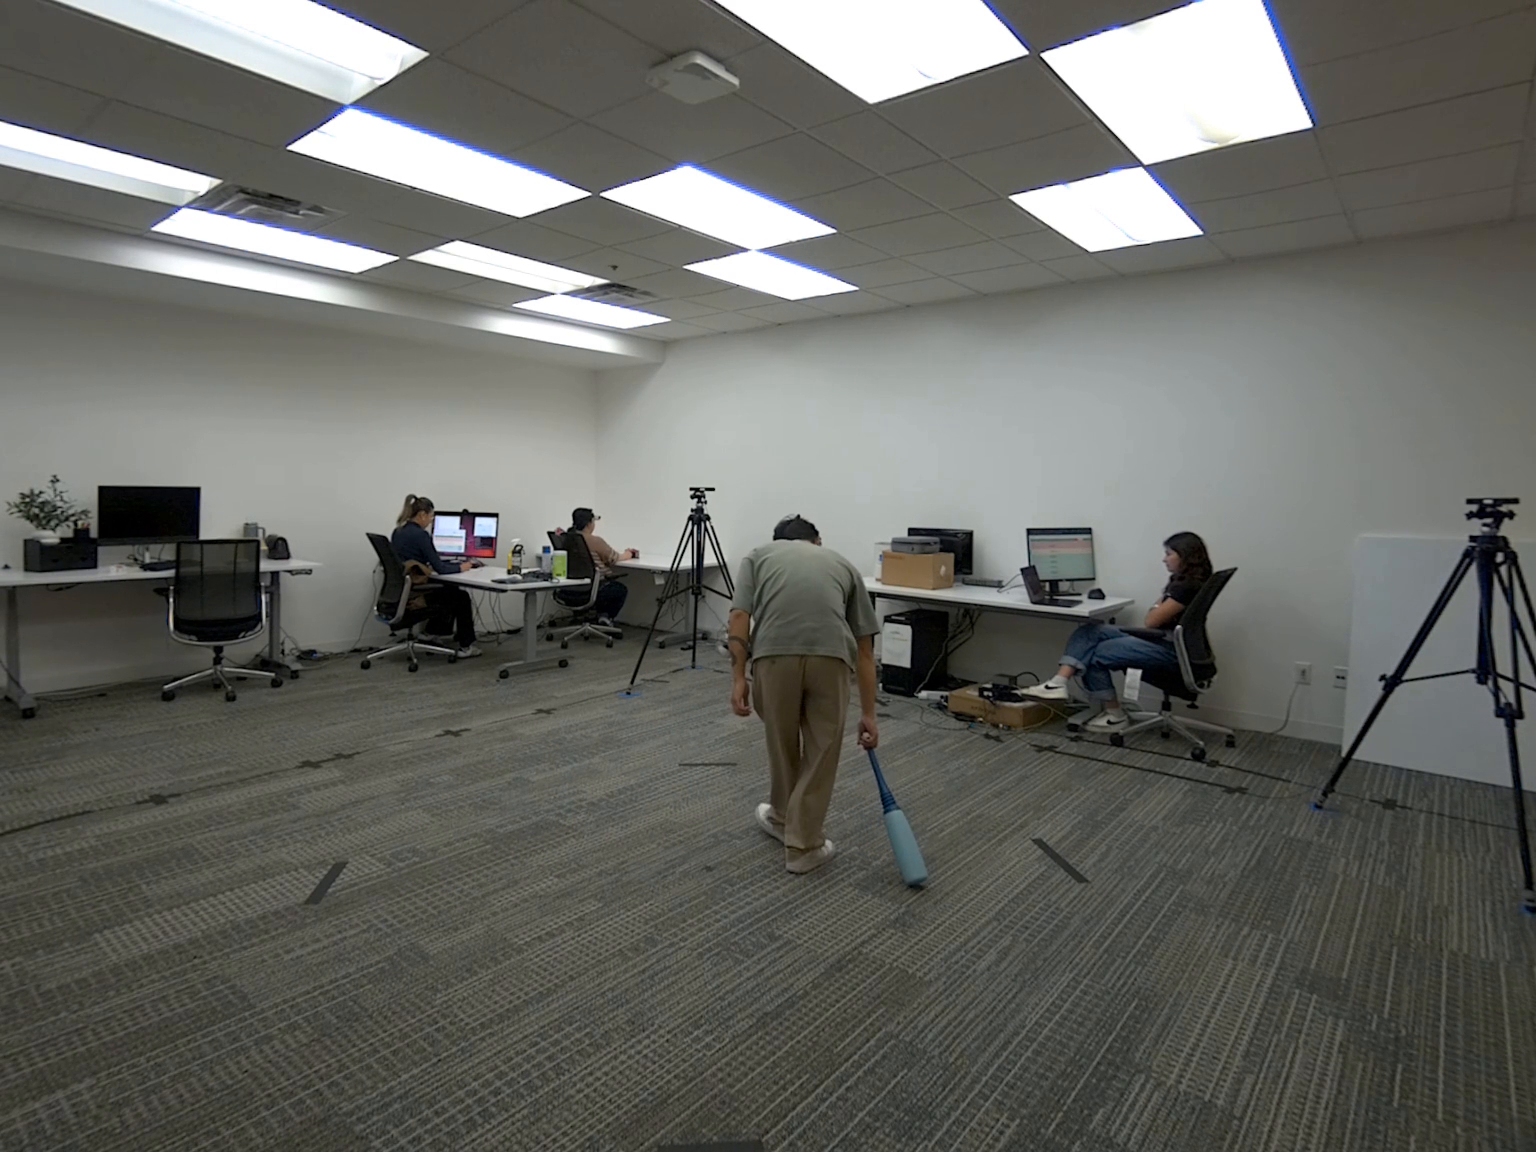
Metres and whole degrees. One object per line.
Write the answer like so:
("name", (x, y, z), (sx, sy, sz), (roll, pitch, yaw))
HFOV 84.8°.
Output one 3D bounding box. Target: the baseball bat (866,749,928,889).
("baseball bat", (0.448, 0.857, 3.142), (0.088, 0.562, 0.087), (-12, -33, -10))
